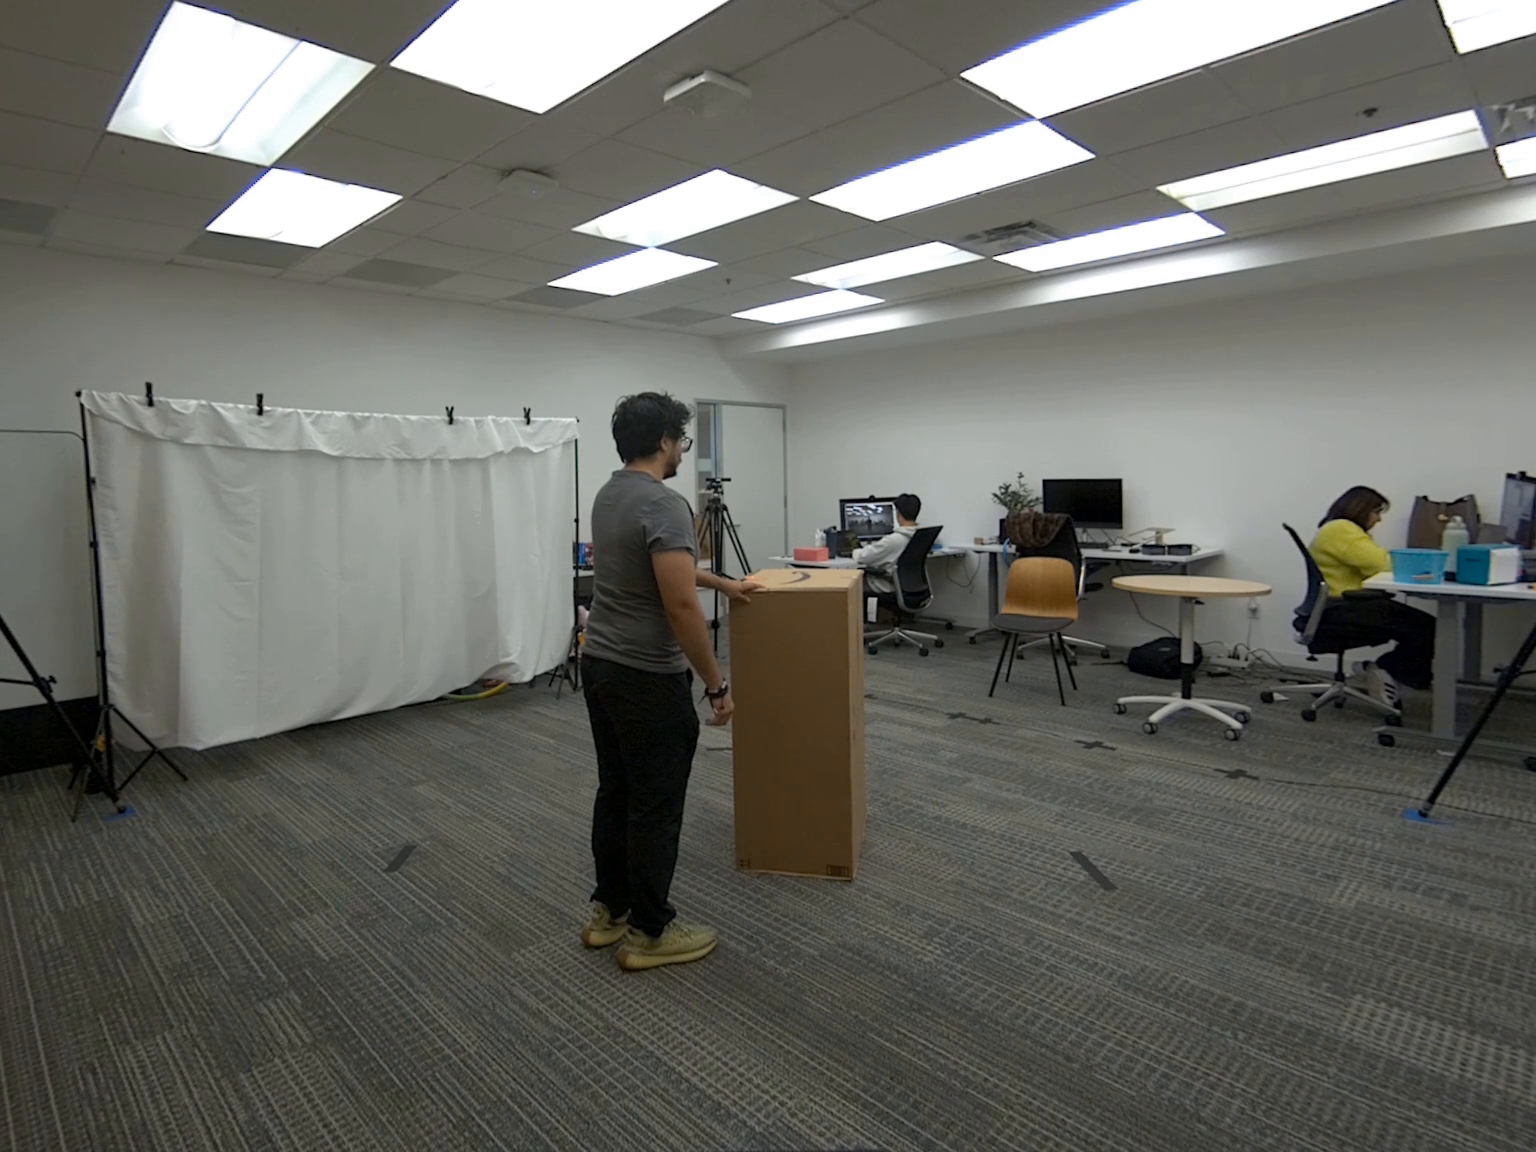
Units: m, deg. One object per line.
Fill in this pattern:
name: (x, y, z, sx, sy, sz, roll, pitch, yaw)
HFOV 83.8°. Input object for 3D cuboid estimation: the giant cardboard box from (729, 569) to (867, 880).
giant cardboard box: (0.128, 0.514, 3.239, 0.432, 1.022, 0.572, 0, 5, 13)
